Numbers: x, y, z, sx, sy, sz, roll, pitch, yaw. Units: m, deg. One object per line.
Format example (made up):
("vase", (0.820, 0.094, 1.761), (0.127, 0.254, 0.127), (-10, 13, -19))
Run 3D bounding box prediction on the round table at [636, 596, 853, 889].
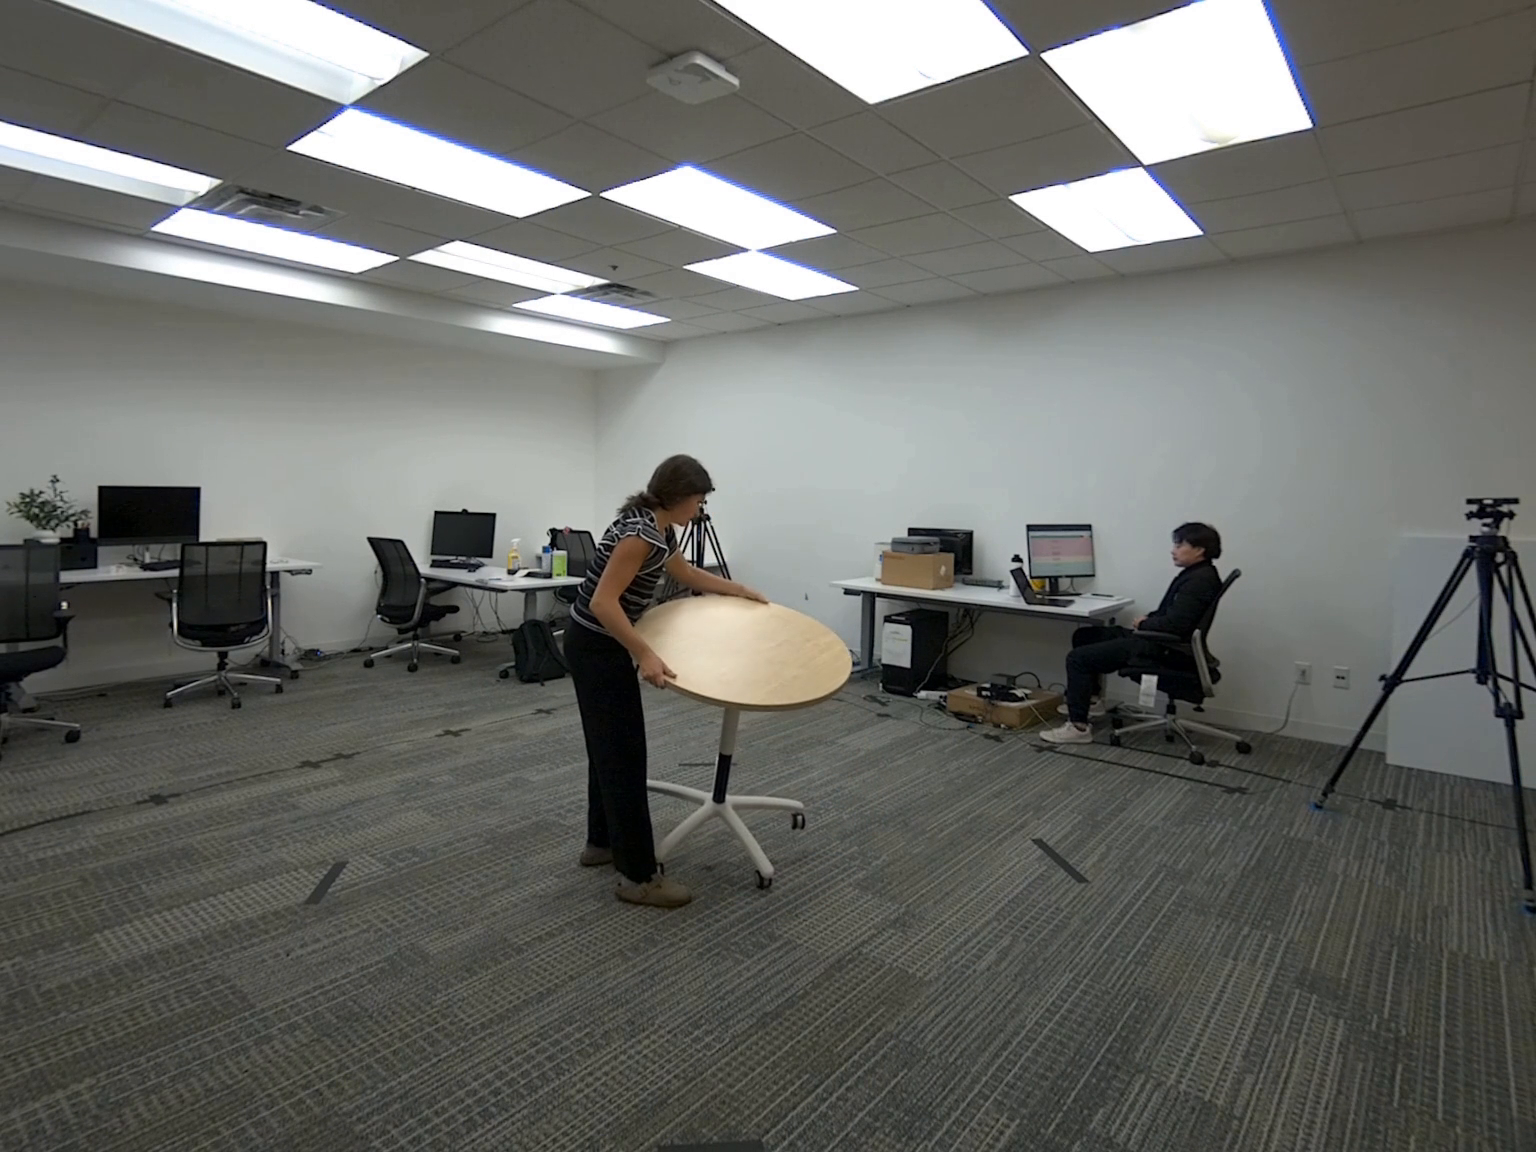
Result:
("round table", (-0.145, 0.601, 3.084), (0.761, 0.781, 0.780), (6, 21, -4))
